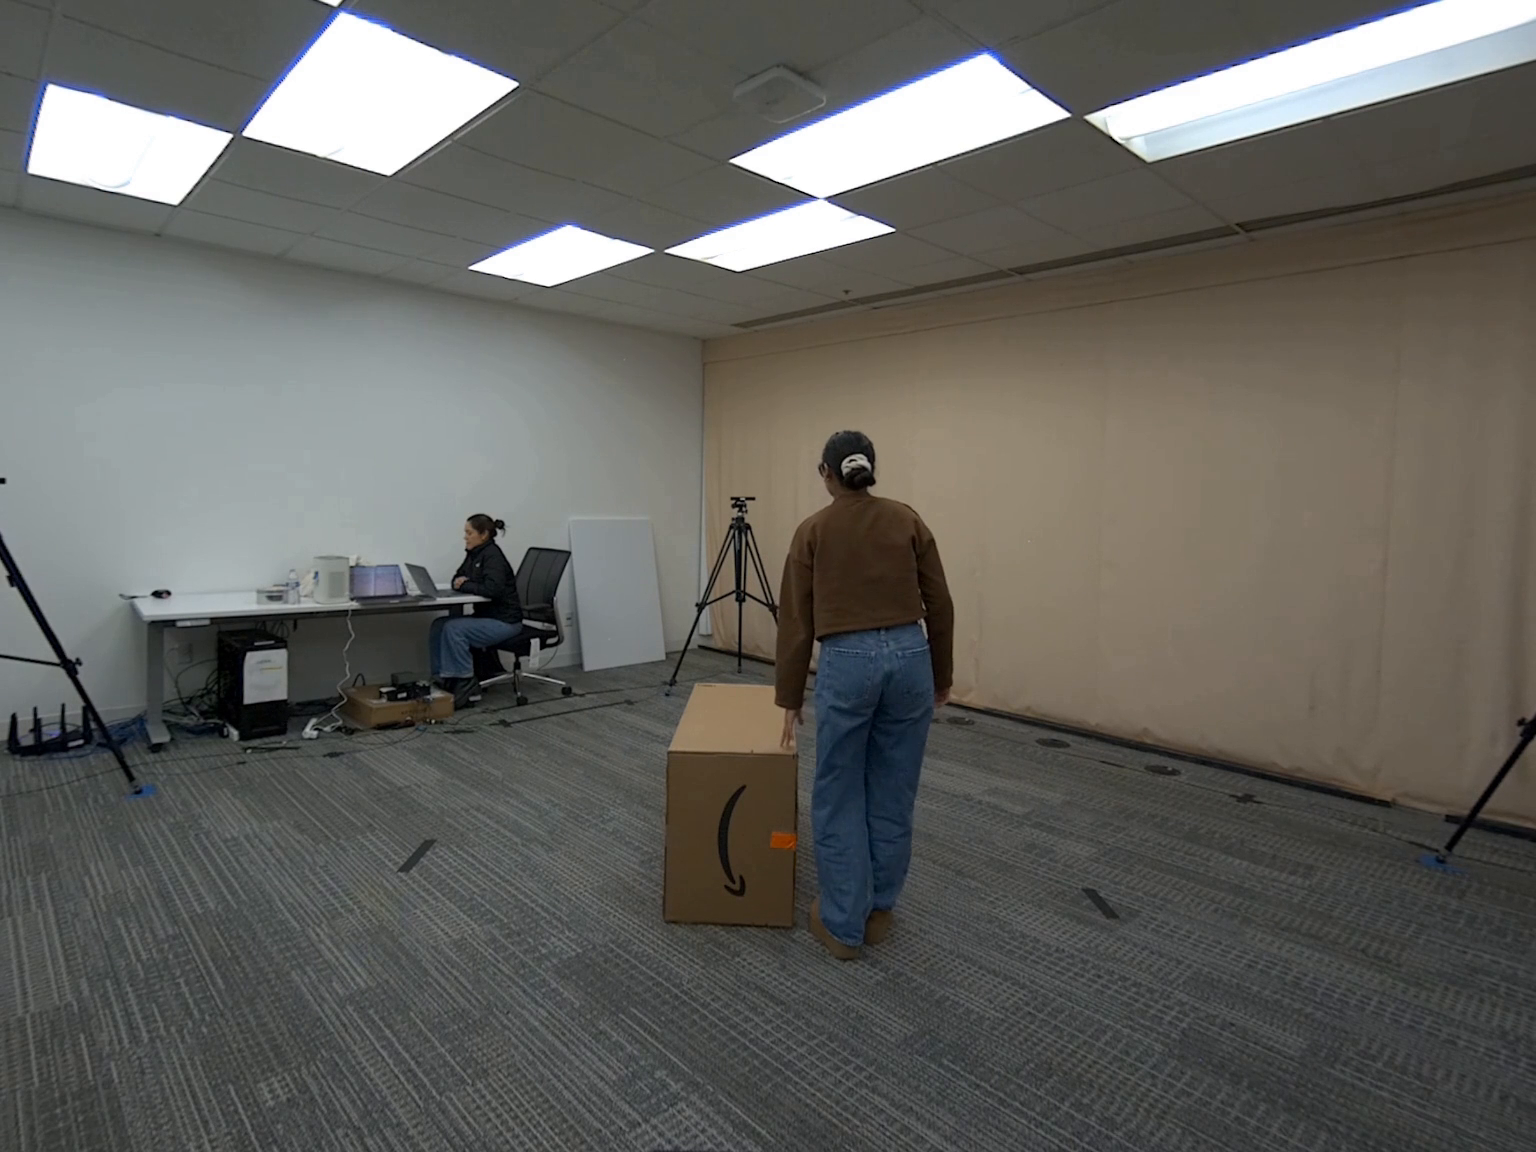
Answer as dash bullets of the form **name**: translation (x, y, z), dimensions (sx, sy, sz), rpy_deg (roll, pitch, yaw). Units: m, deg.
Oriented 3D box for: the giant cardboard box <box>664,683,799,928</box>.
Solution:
- **giant cardboard box**: translation (-0.129, 0.810, 3.241), dimensions (0.447, 0.582, 1.028), rpy_deg (0, 5, 1)
